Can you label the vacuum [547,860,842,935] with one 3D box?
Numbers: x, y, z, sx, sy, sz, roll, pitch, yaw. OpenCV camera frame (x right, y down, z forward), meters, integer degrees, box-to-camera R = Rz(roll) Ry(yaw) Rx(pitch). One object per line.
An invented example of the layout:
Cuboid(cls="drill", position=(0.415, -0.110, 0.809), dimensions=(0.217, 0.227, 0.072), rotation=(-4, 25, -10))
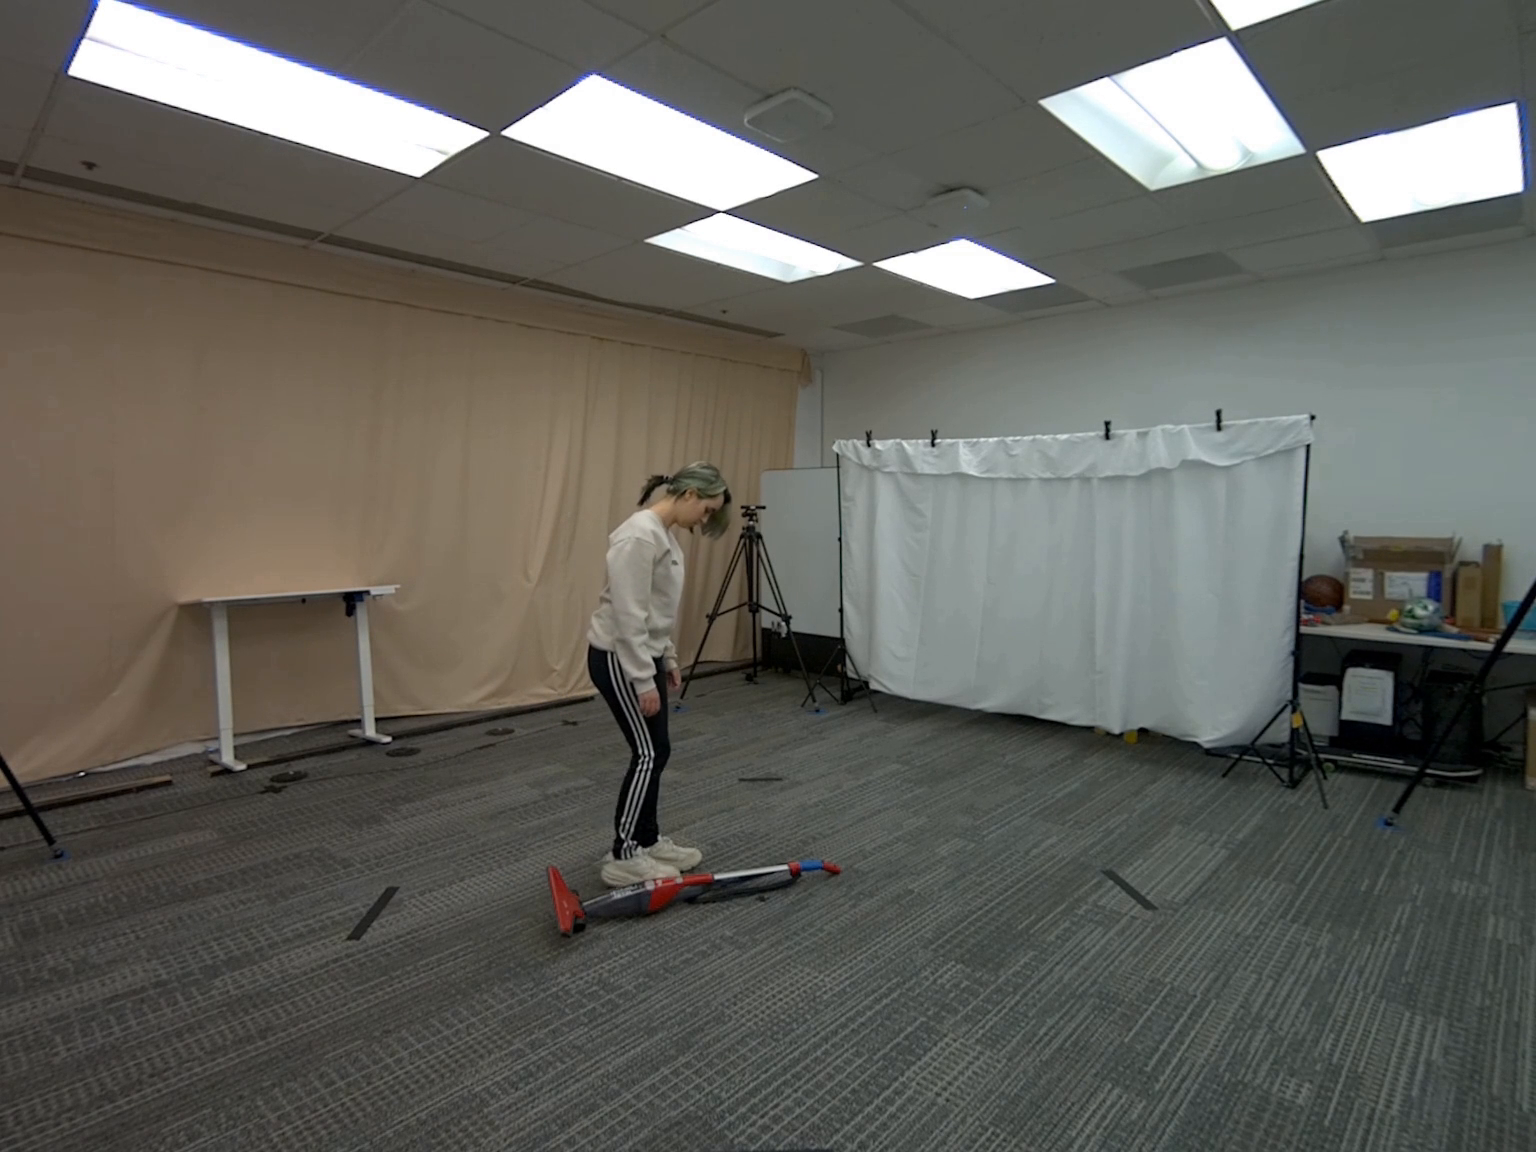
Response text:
Cuboid(cls="vacuum", position=(-0.206, 1.094, 2.966), dimensions=(1.025, 0.143, 0.260), rotation=(2, 34, -23))
